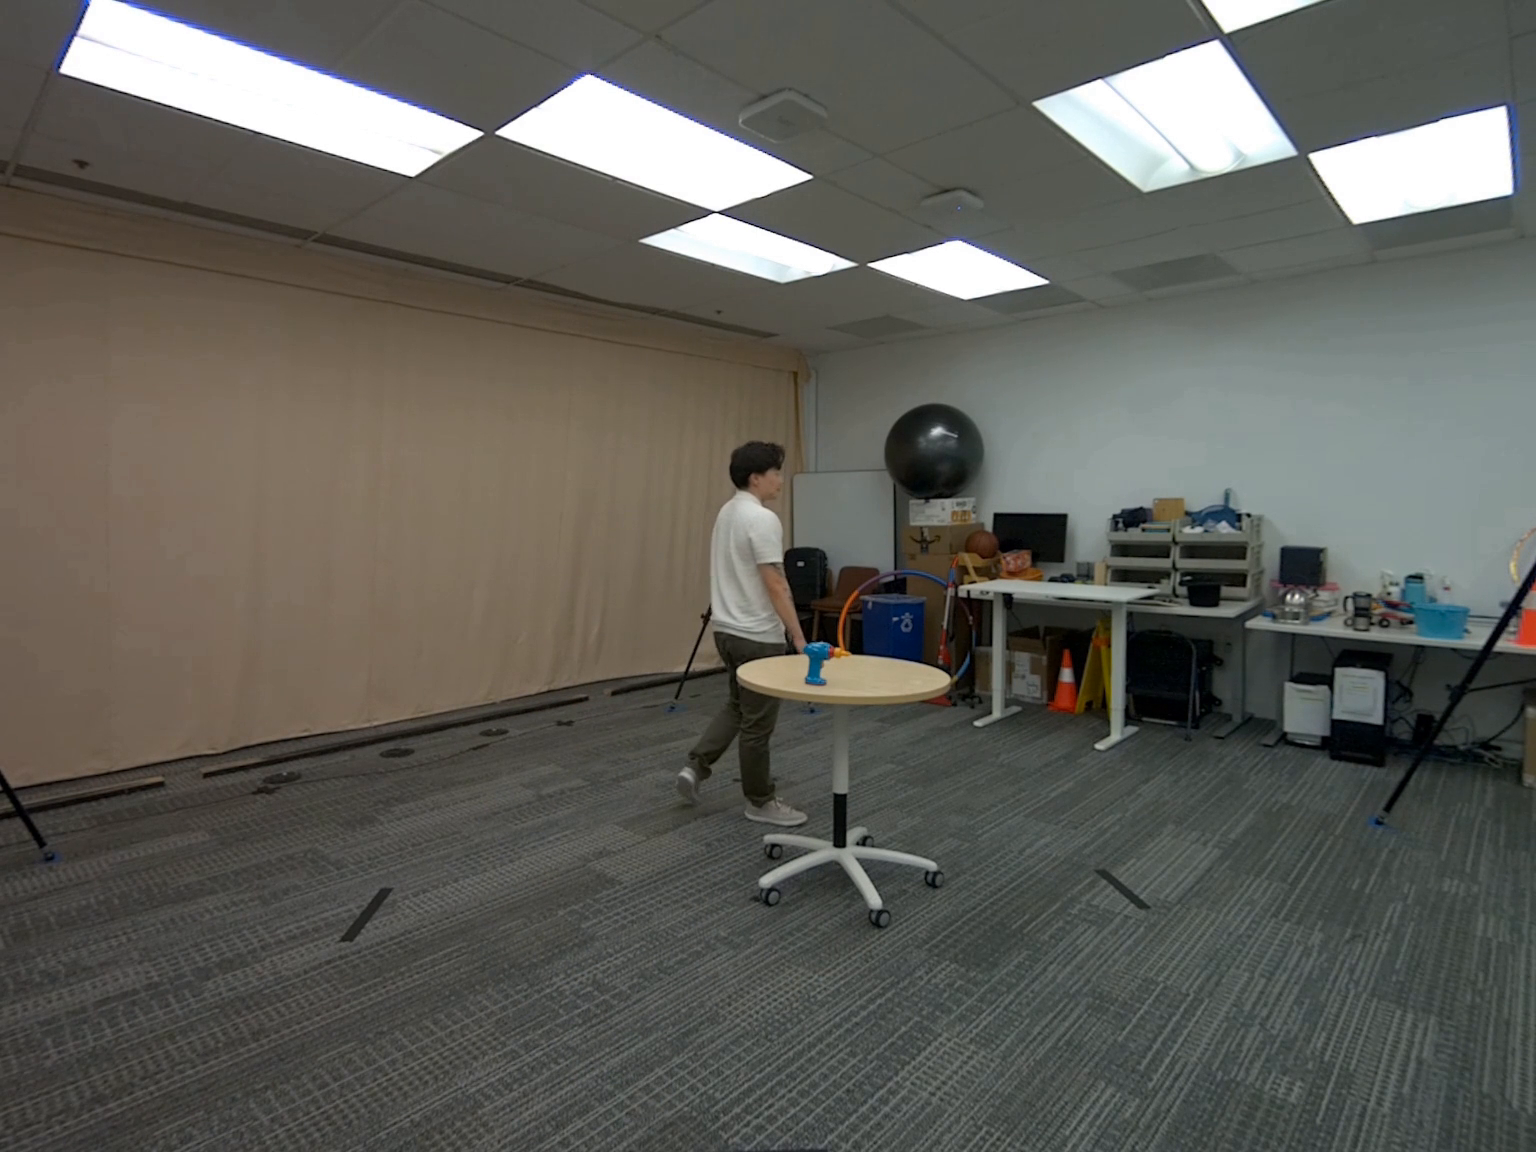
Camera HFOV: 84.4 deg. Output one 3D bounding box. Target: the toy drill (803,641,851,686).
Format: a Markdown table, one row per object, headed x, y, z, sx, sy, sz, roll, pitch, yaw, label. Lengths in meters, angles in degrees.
| x | y | z | sx | sy | sz | roll | pitch | yaw | label |
| --- | --- | --- | --- | --- | --- | --- | --- | --- | --- |
| 0.205 | 0.296 | 2.850 | 0.173 | 0.146 | 0.060 | 3 | 3 | 20 | toy drill |
